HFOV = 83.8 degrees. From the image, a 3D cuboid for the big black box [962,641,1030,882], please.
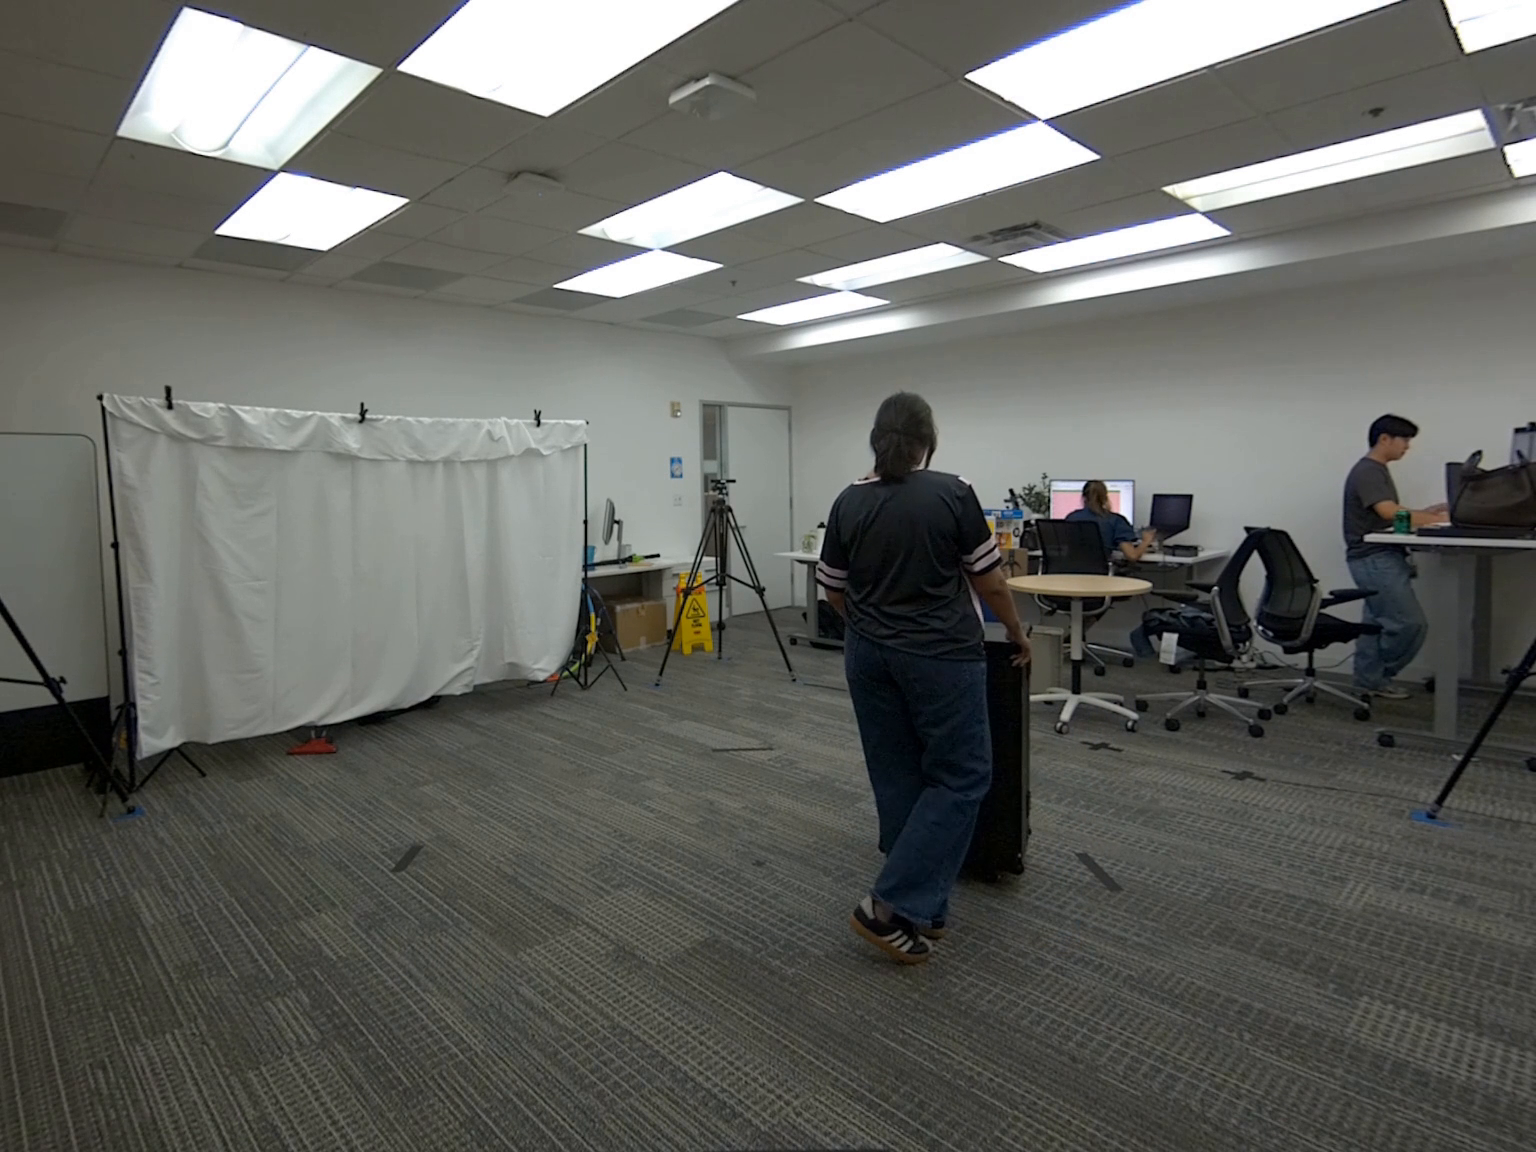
[{"bbox_3d":[0.689,0.614,3.061,0.534,0.865,0.379,0,4,22],"label":"big black box"}]
